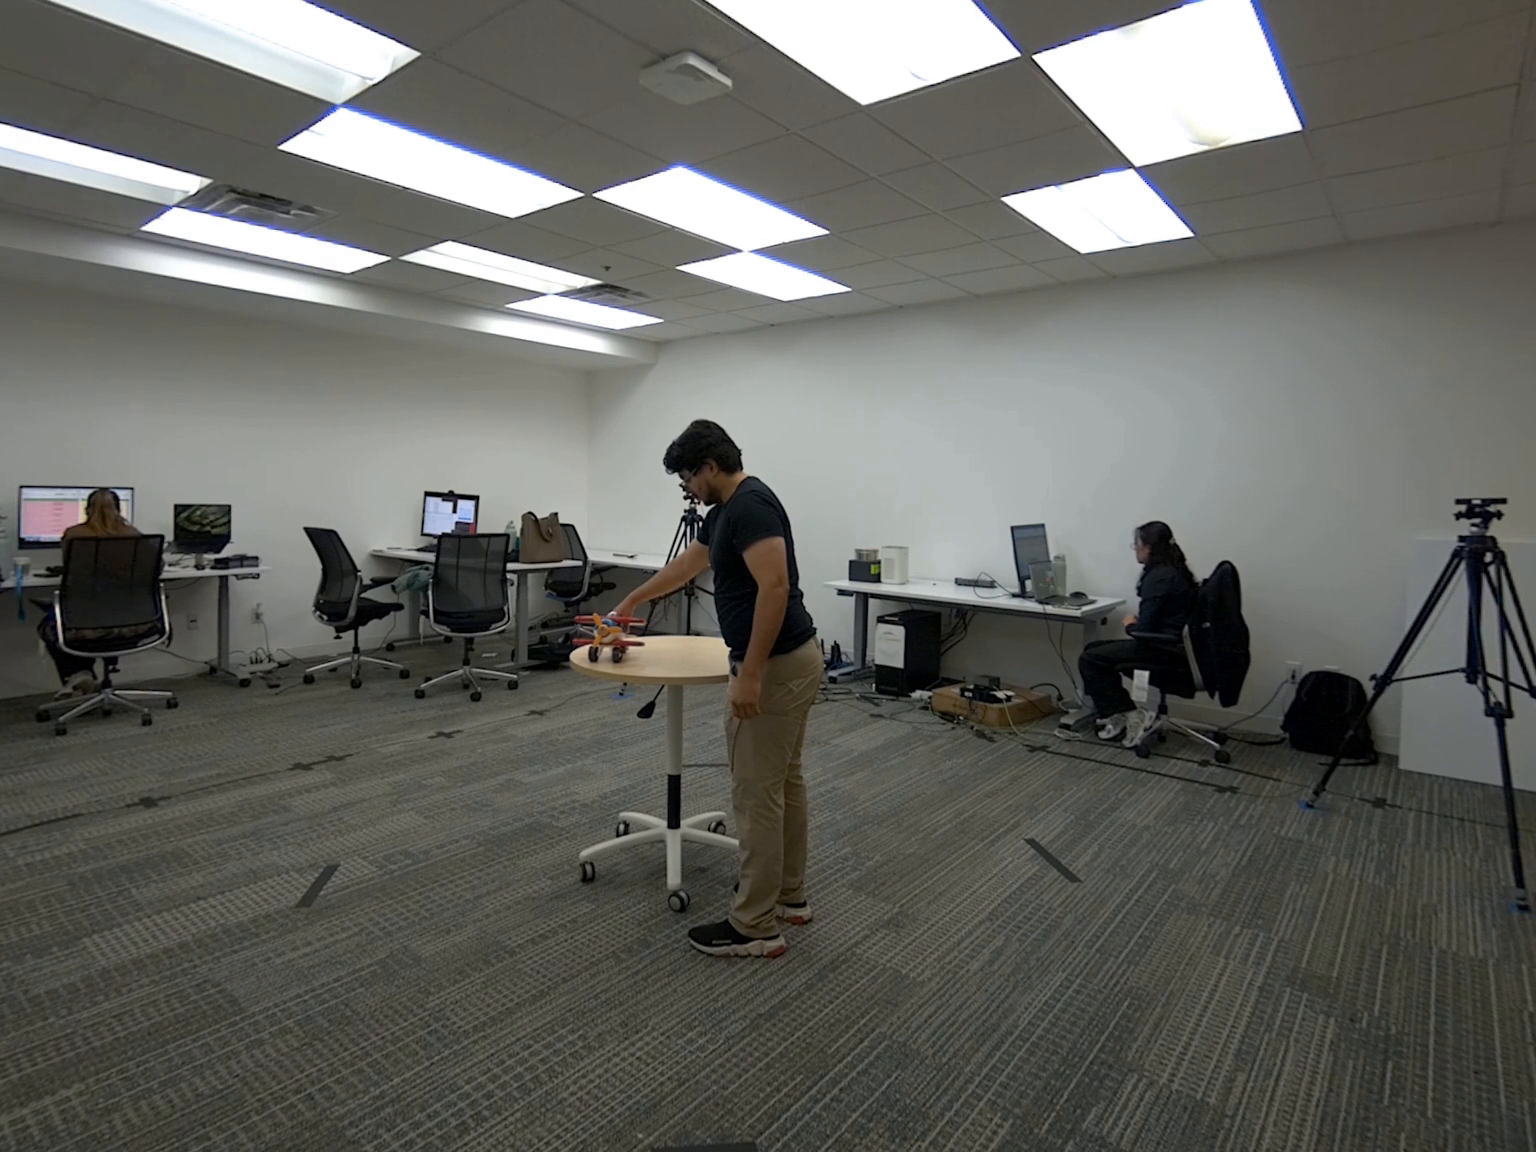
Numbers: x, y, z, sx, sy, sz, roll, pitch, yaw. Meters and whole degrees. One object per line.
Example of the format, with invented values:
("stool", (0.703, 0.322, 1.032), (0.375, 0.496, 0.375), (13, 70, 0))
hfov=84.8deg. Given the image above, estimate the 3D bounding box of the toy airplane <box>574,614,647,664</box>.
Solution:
("toy airplane", (-0.588, 0.212, 3.035), (0.246, 0.156, 0.266), (-1, 6, -22))
